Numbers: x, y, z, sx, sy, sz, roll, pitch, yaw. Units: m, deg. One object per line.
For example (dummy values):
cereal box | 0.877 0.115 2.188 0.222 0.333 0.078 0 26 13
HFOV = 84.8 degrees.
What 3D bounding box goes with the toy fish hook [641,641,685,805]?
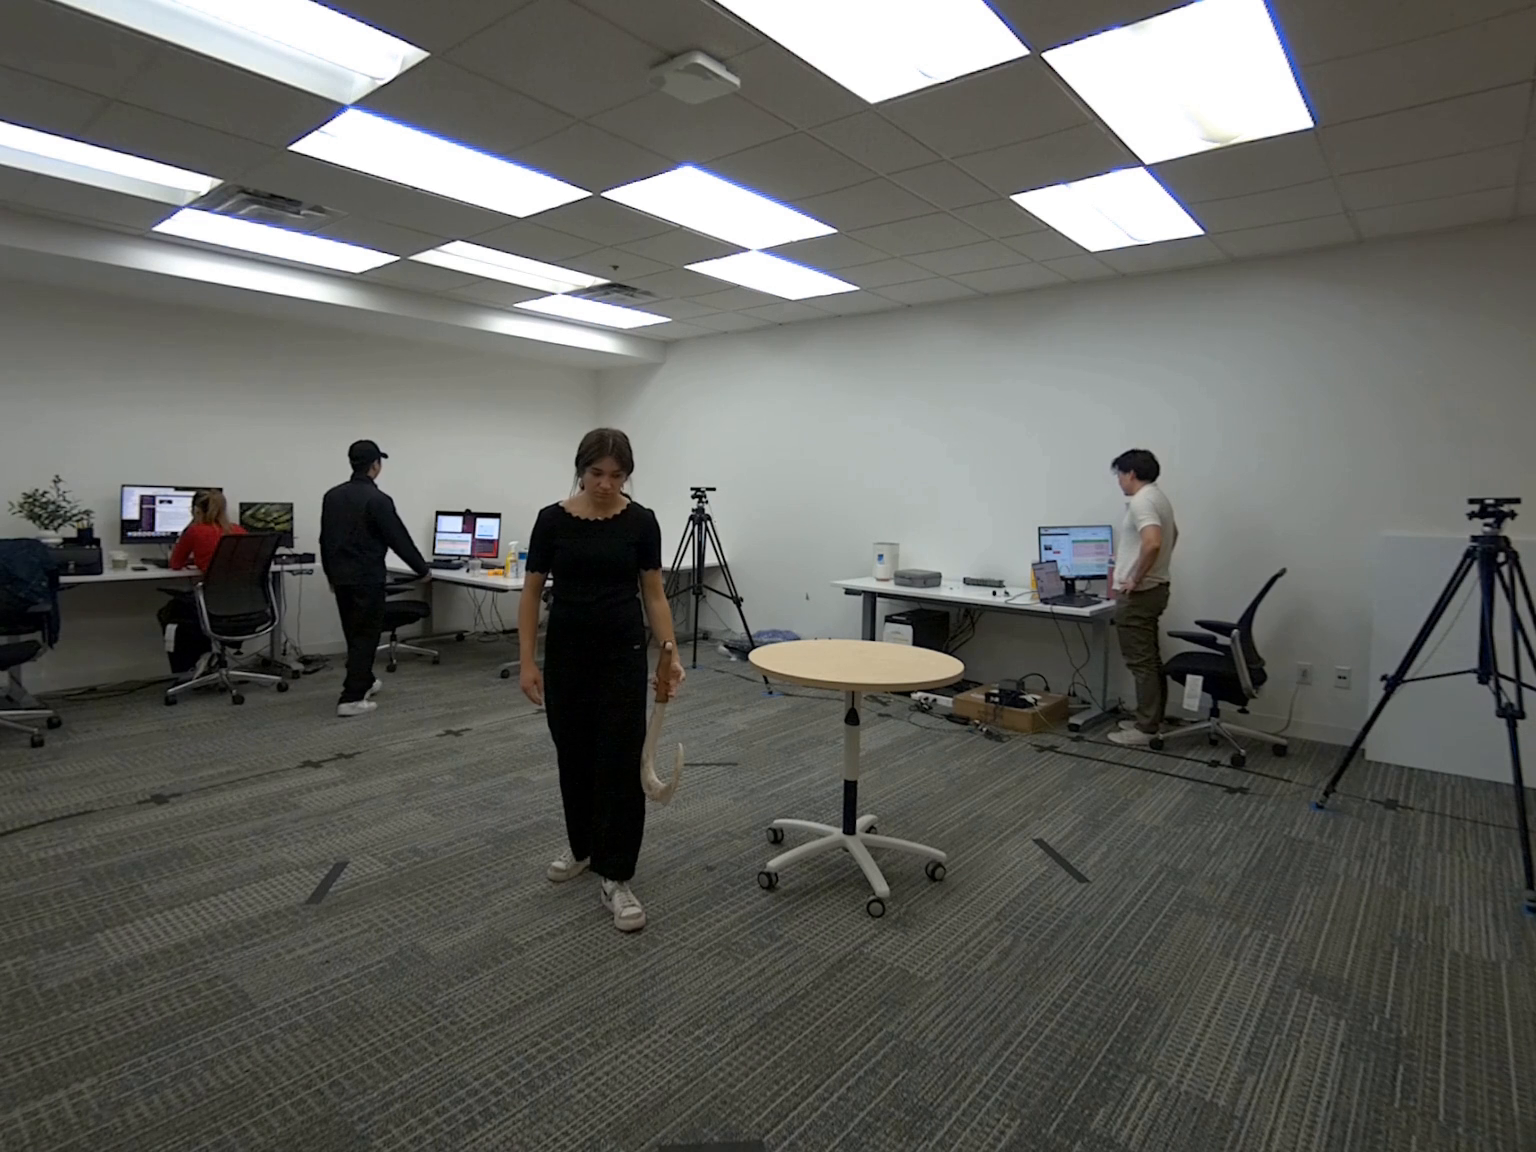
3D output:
toy fish hook | -0.327 0.465 2.714 0.046 0.511 0.231 14 -14 -40
